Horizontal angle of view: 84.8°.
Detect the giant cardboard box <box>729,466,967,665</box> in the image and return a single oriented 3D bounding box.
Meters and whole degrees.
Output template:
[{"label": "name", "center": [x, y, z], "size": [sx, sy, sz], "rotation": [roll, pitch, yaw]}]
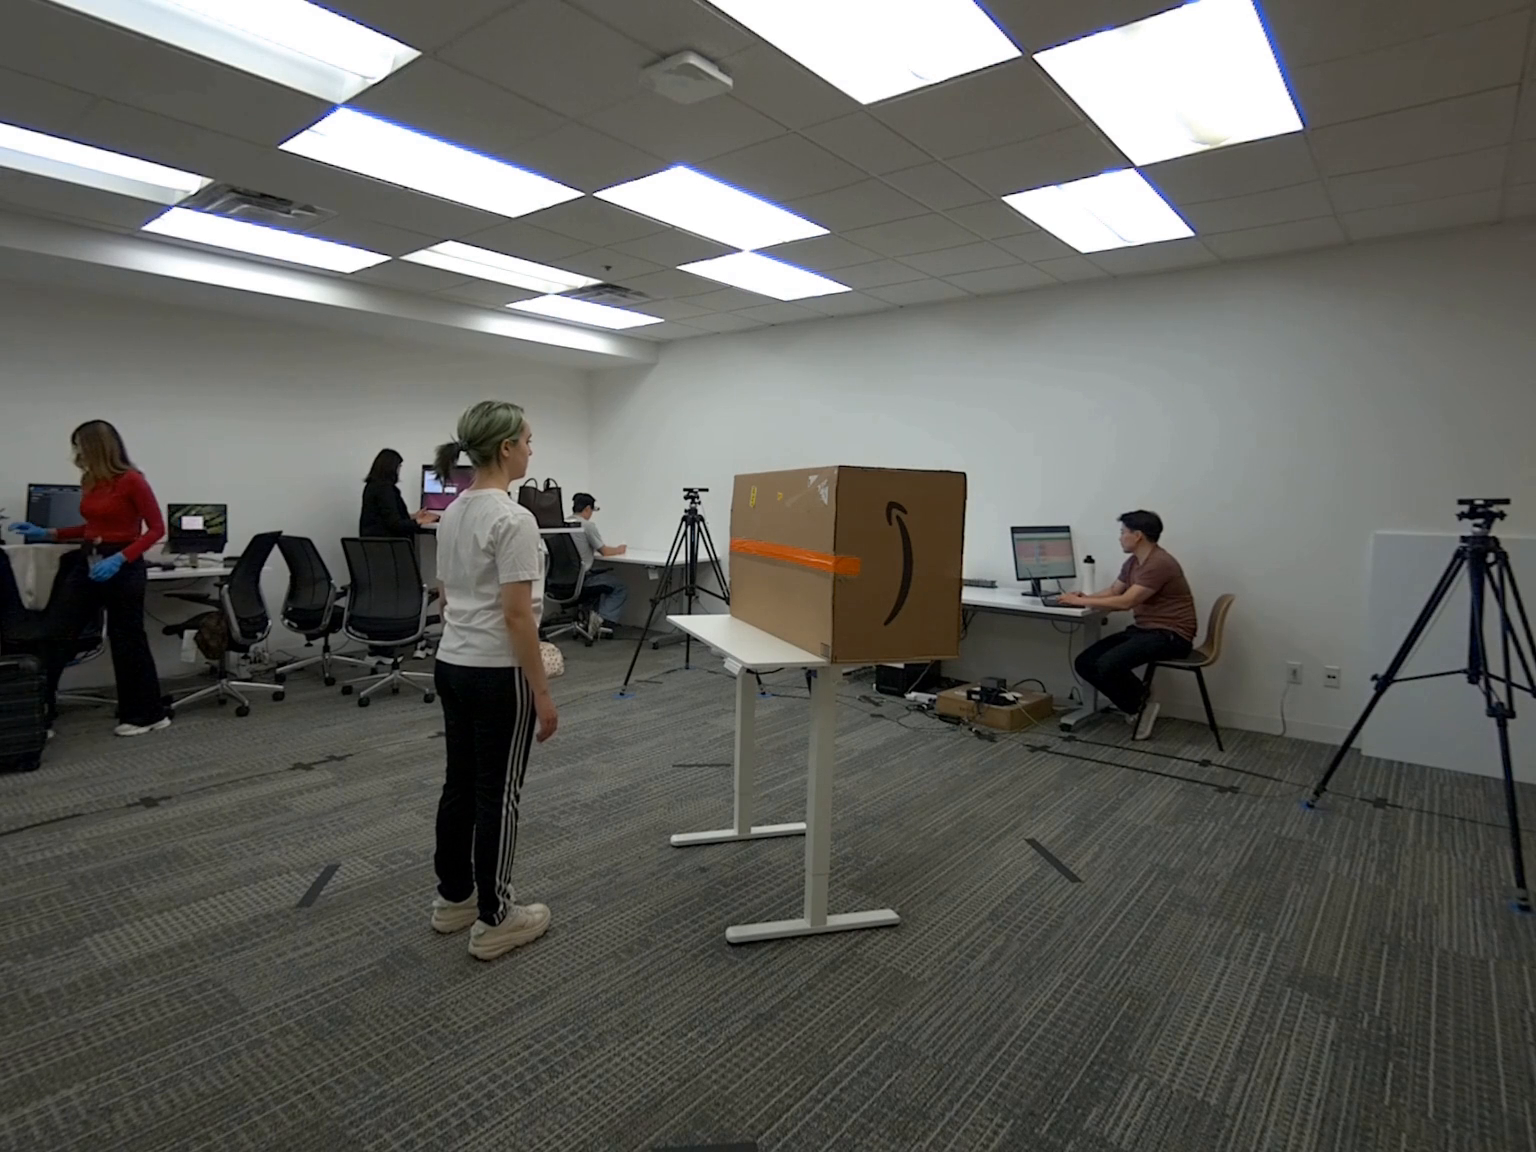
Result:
[{"label": "giant cardboard box", "center": [0.207, -0.081, 3.014], "size": [0.438, 0.582, 1.050], "rotation": [1, 4, -19]}]
